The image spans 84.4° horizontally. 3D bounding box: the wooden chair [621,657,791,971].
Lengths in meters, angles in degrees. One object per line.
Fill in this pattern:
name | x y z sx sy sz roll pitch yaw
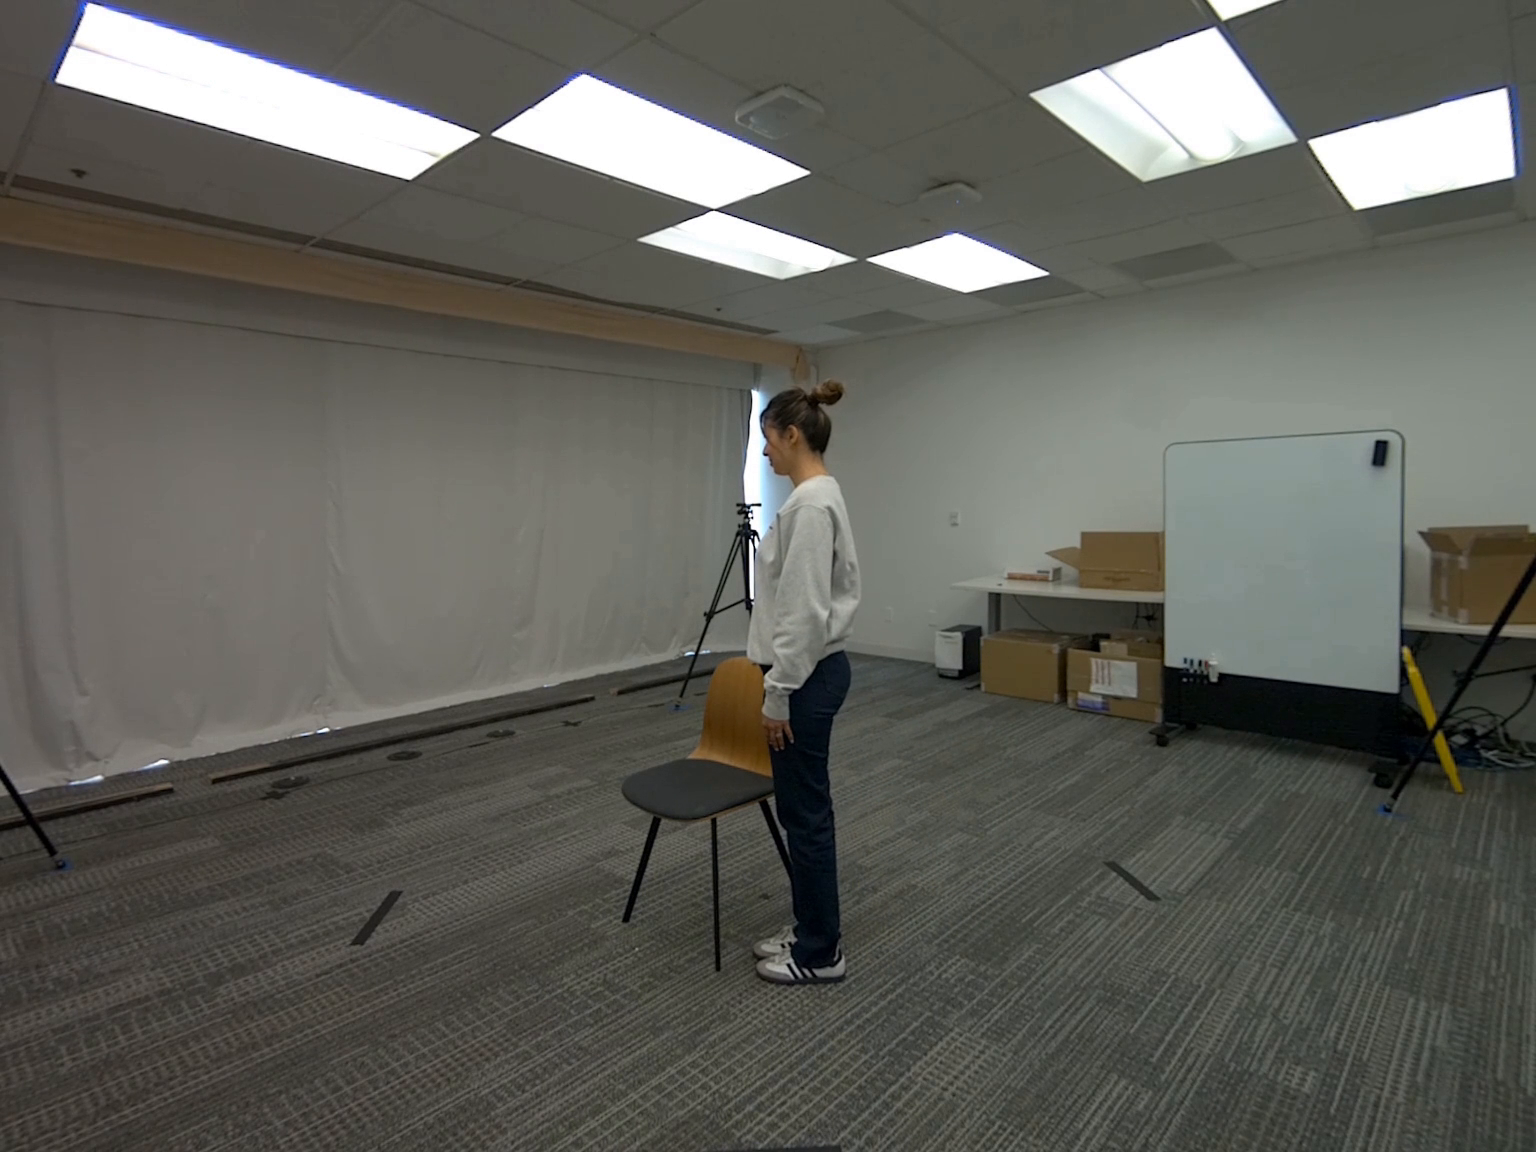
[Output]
wooden chair | -0.182 0.730 2.794 0.494 0.877 0.506 3 1 43
